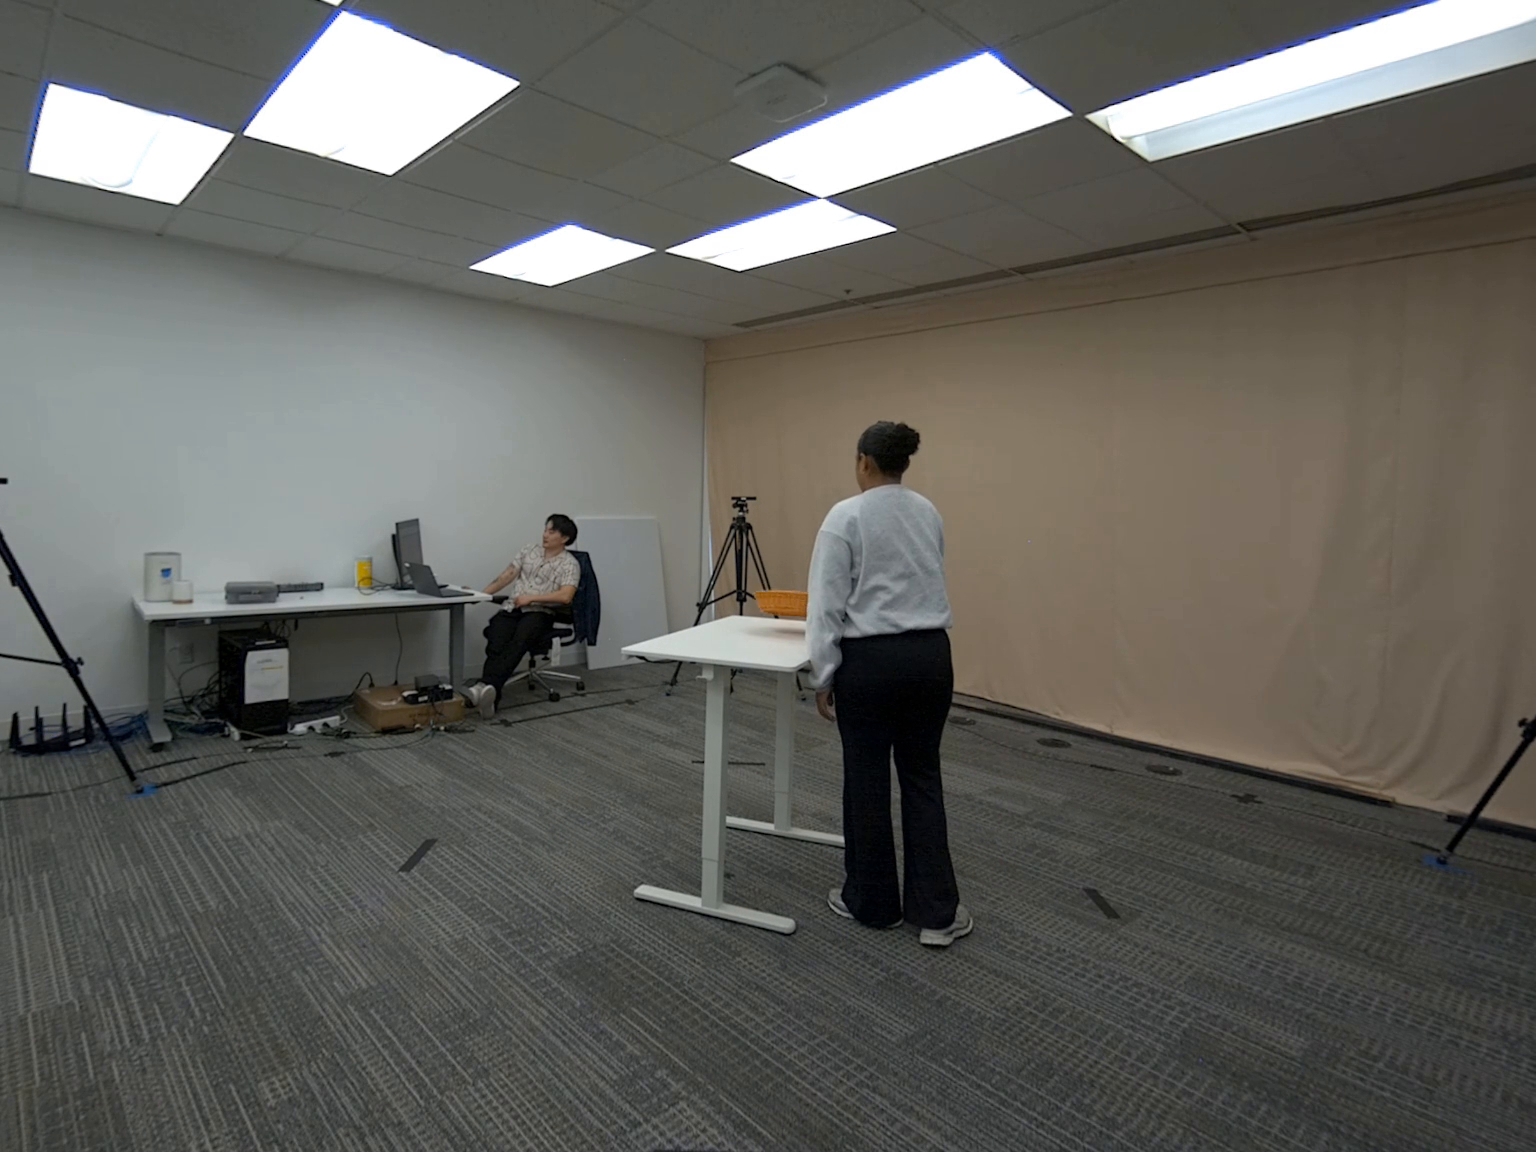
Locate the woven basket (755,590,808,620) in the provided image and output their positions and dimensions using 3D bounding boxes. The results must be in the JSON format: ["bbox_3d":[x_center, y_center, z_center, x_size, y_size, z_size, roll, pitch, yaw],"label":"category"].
[{"bbox_3d":[0.121,0.108,3.224,0.358,0.074,0.245,2,-10,36],"label":"woven basket"}]
